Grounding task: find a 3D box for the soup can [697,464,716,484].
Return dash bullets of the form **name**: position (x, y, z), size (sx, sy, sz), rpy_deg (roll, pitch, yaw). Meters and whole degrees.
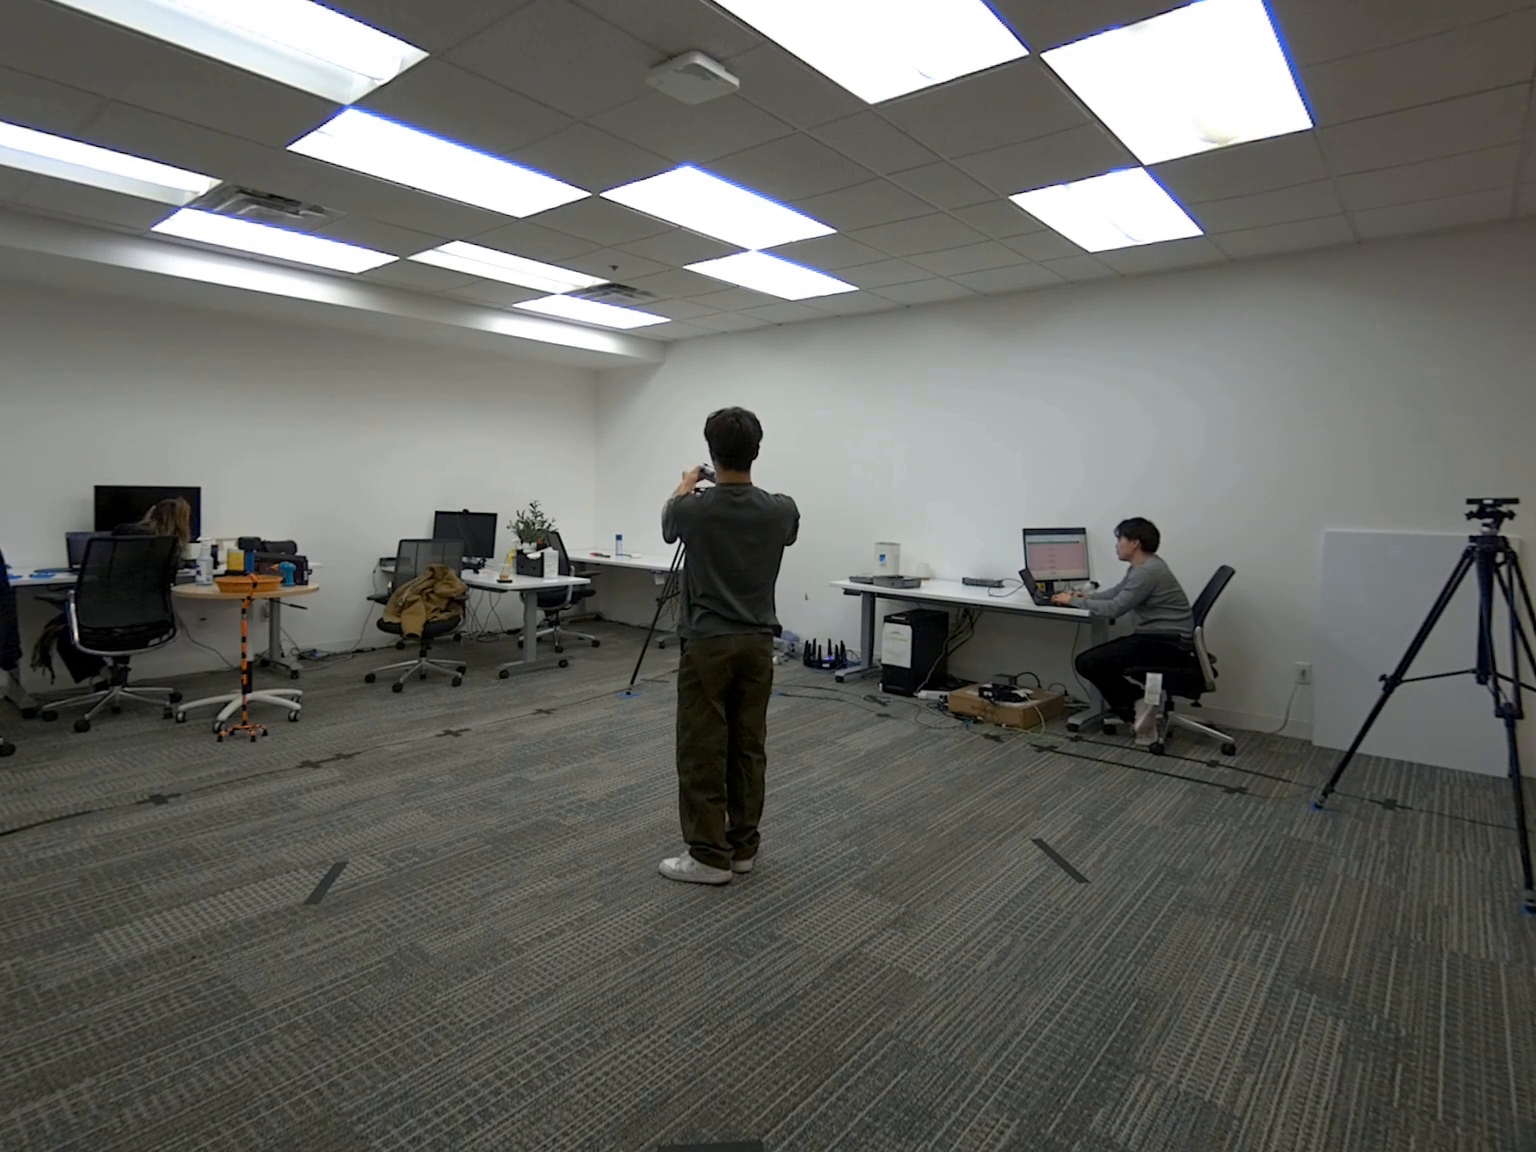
- **soup can**: position (-0.242, -0.429, 3.573), size (0.123, 0.067, 0.067), rpy_deg (23, 6, 6)
